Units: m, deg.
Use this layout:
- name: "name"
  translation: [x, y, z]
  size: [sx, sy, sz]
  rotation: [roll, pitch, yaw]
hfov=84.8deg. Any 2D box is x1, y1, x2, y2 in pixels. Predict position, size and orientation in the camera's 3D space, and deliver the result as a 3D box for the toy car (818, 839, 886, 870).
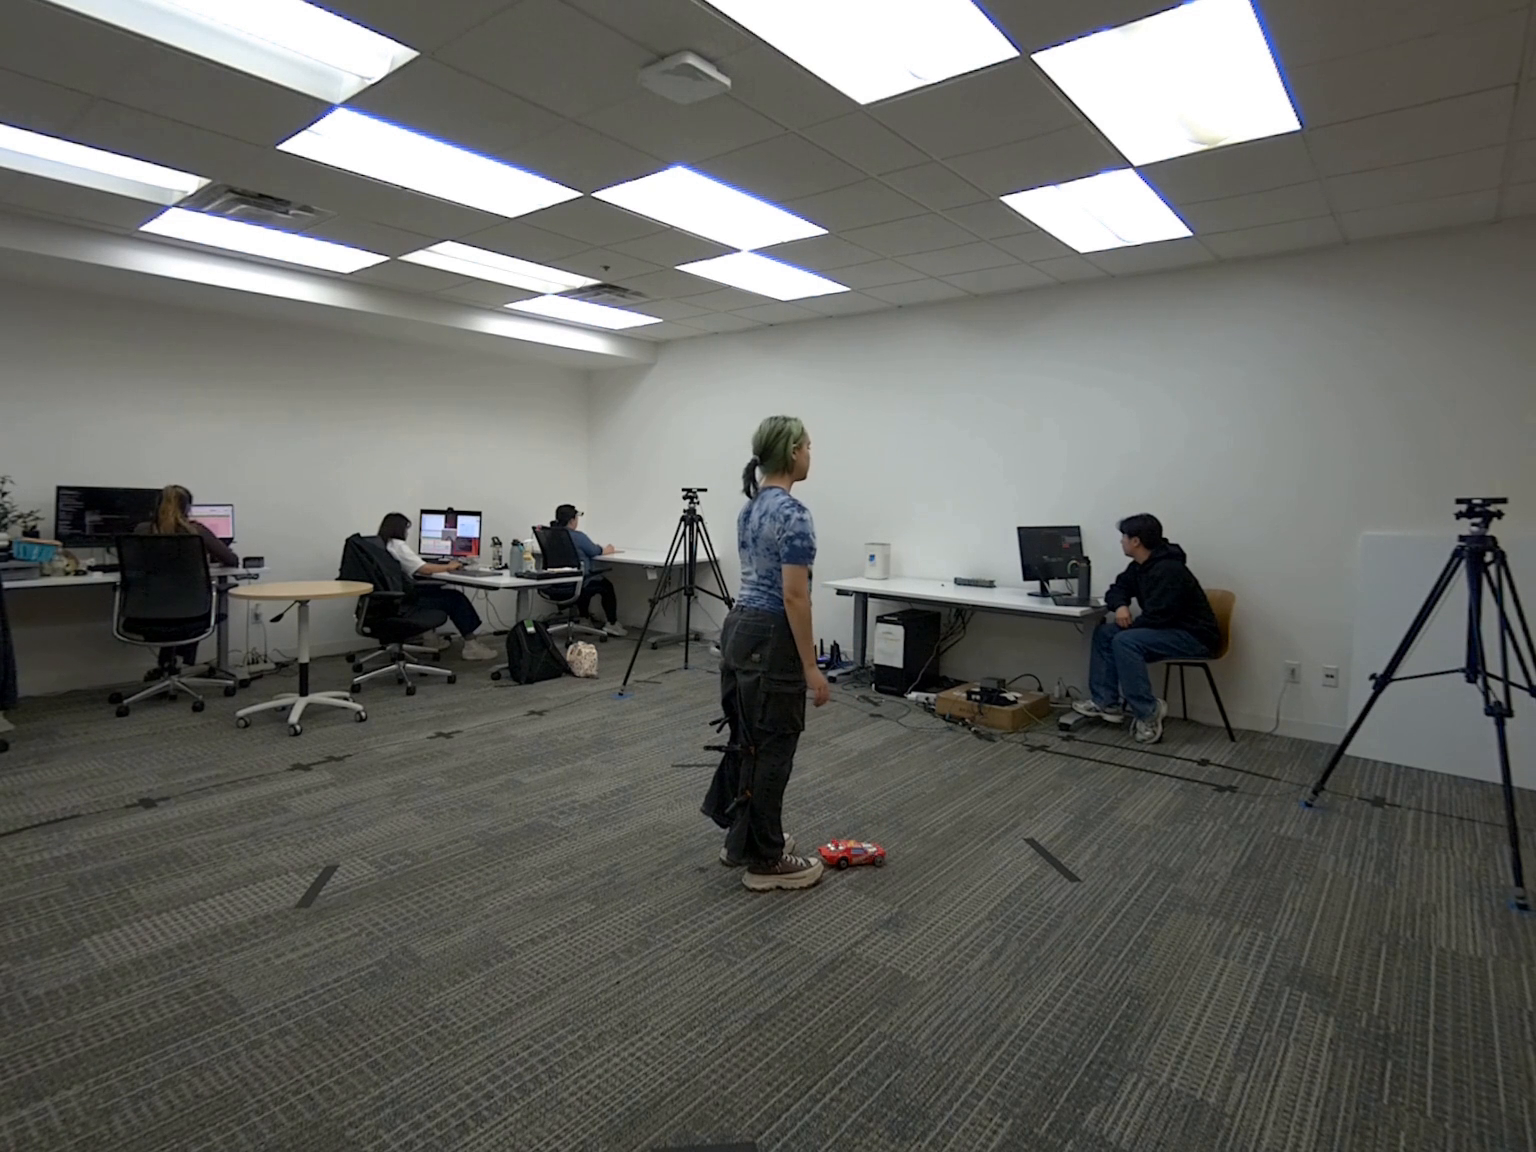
- name: "toy car"
  translation: [0.303, 1.042, 3.191]
  size: [0.250, 0.083, 0.133]
  rotation: [10, 3, -15]
